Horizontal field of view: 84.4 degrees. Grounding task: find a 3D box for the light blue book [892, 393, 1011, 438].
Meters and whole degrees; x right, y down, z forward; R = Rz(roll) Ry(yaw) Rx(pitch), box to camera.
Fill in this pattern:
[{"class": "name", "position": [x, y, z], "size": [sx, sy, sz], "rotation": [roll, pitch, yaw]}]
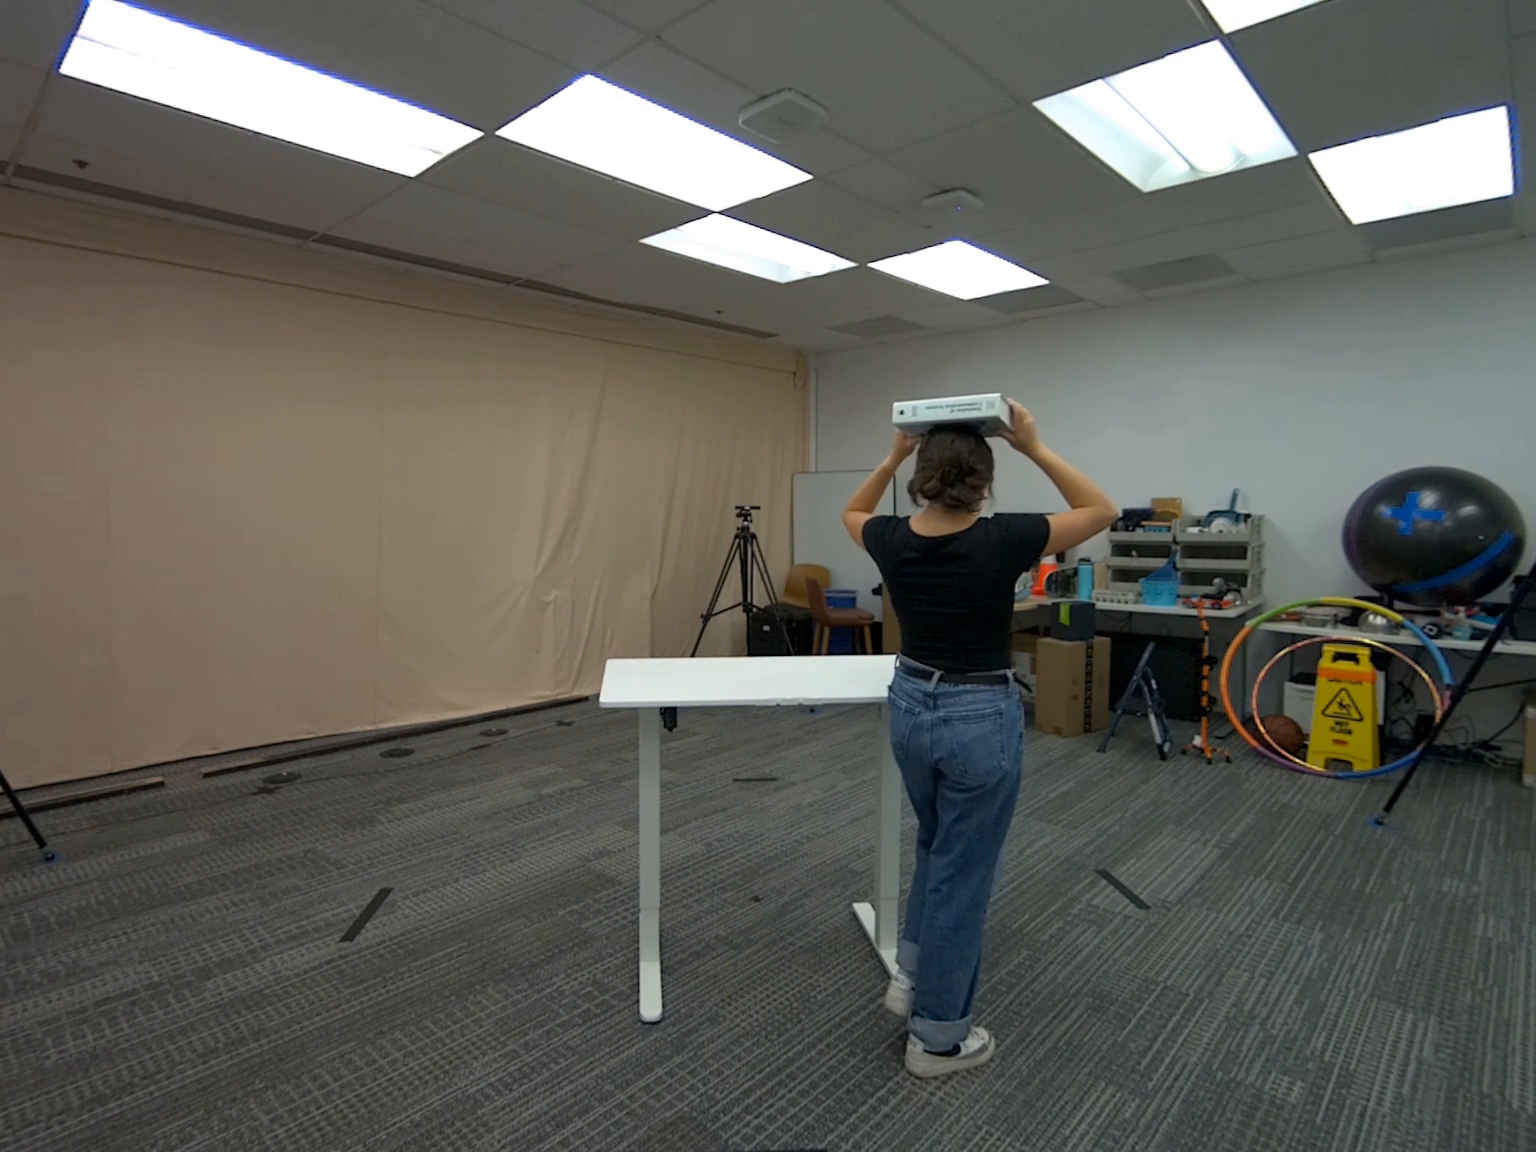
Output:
[{"class": "light blue book", "position": [0.479, -0.392, 2.081], "size": [0.269, 0.059, 0.185], "rotation": [2, -4, 34]}]
